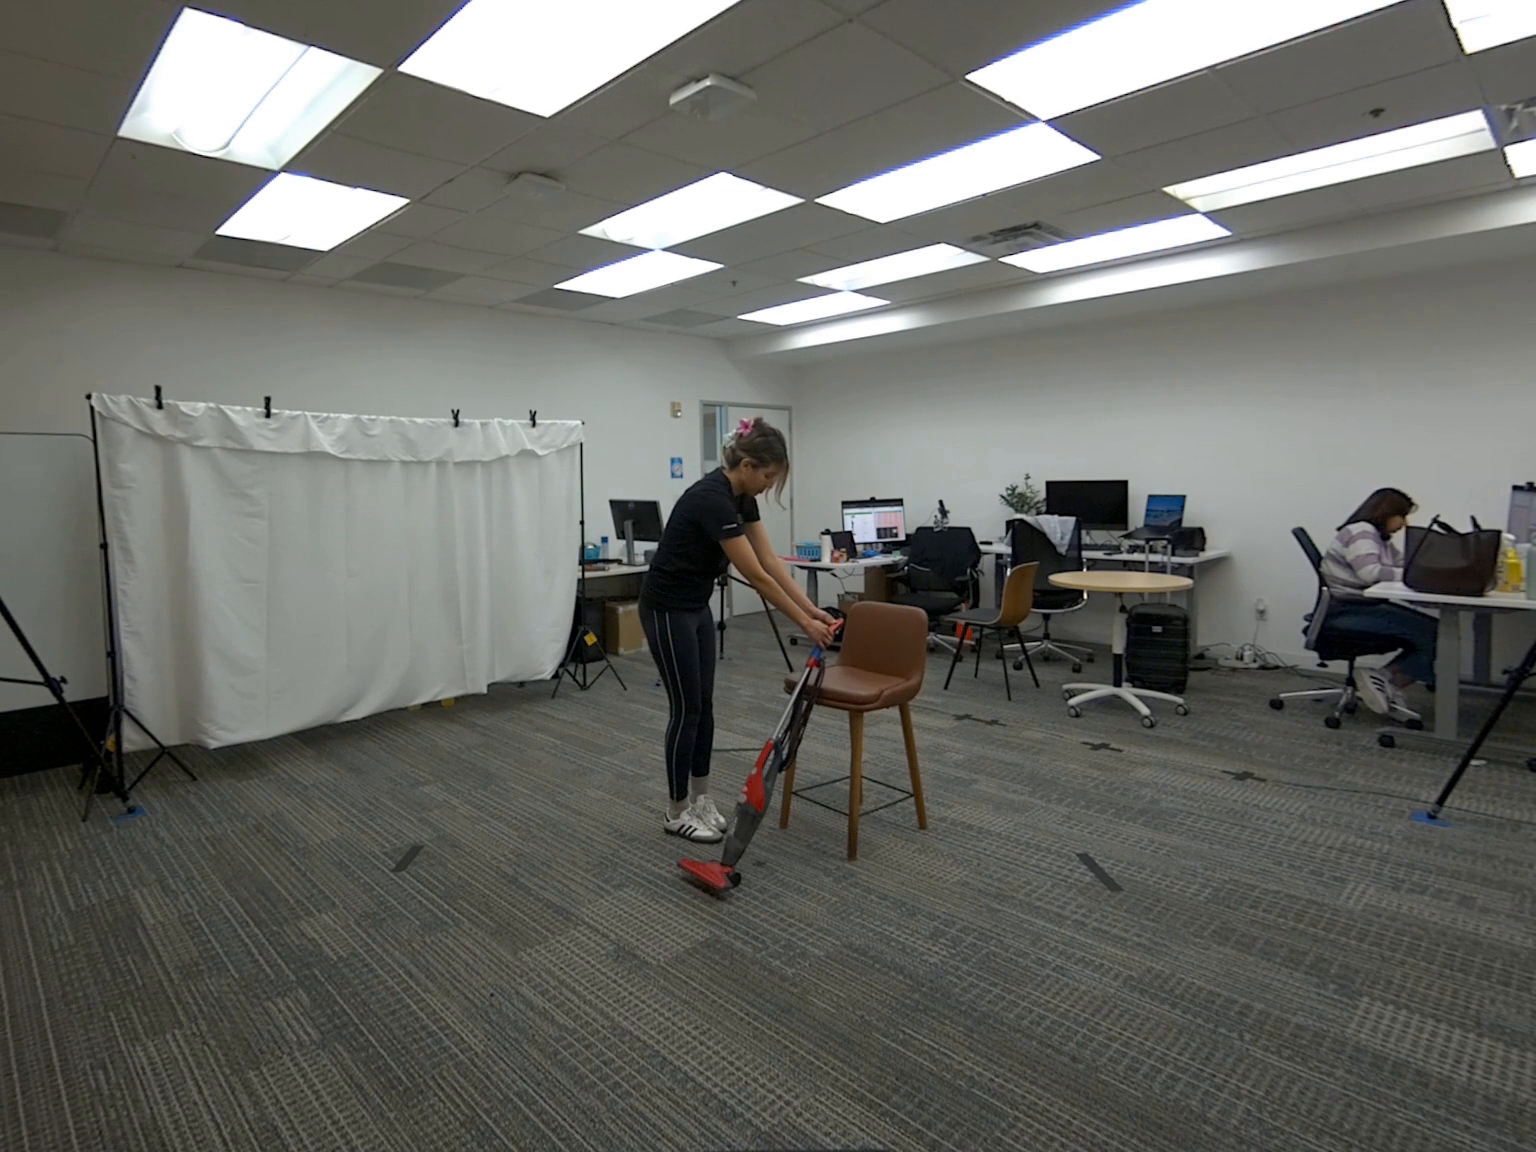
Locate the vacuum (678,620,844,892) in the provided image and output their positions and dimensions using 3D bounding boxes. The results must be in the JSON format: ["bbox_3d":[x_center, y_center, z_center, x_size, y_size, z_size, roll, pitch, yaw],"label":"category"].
[{"bbox_3d":[0.051,0.623,3.119,0.261,1.055,0.138,10,-29,43],"label":"vacuum"}]
